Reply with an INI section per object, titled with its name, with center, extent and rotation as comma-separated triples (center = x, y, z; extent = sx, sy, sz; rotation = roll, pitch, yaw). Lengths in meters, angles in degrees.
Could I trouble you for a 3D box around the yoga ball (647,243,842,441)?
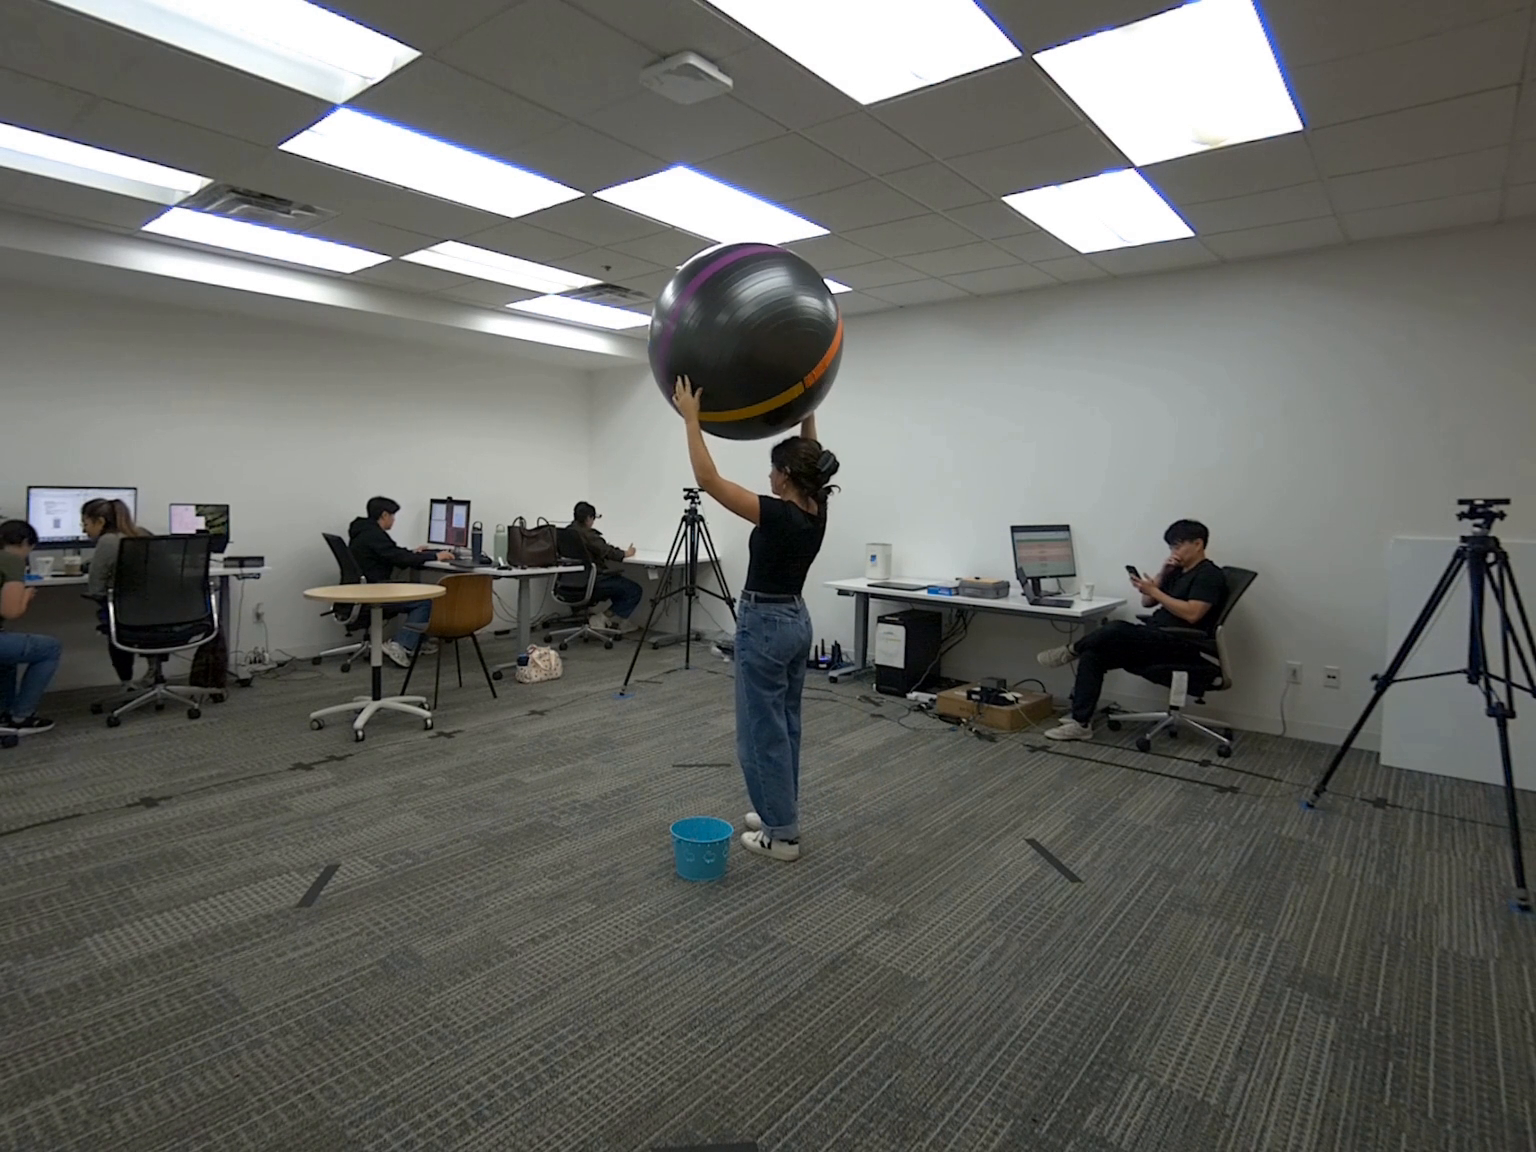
[yoga ball]
center = -0.104, -0.907, 3.319
extent = 0.757, 0.756, 0.762
rotation = 1, 4, -2
